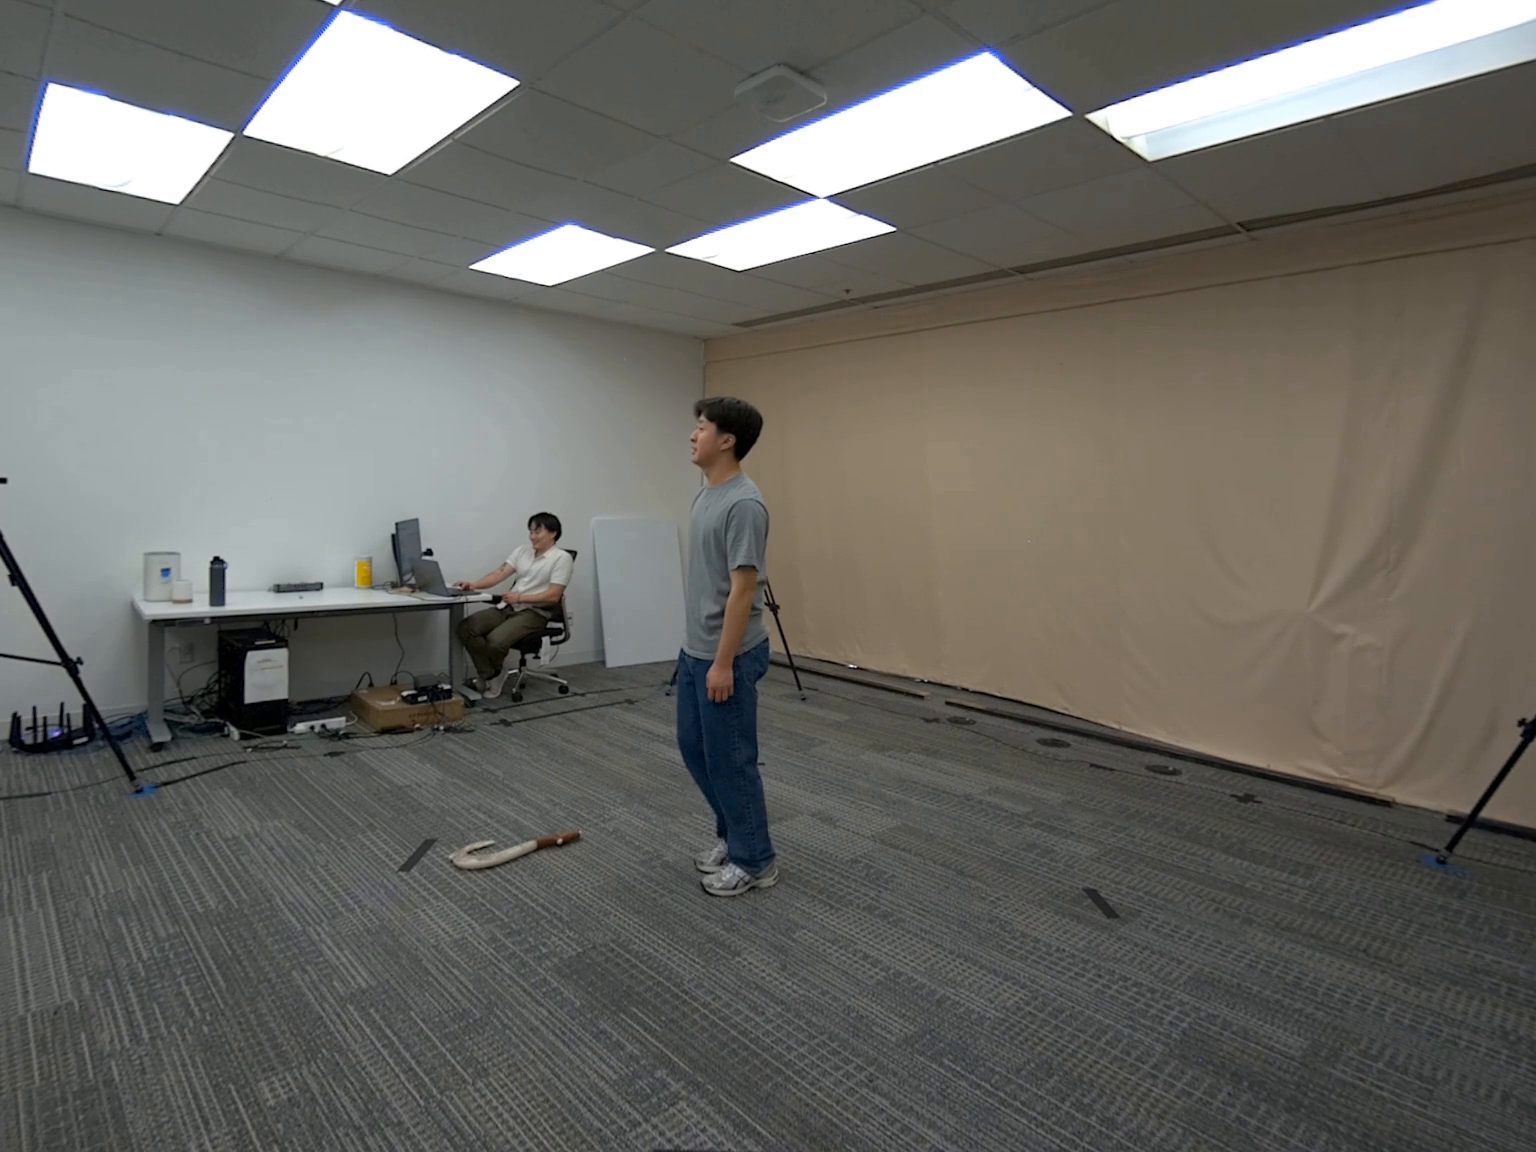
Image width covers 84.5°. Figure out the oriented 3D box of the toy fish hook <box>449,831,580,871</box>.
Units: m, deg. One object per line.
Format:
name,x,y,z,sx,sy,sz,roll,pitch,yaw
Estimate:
toy fish hook,-0.982,1.044,3.287,0.495,0.048,0.230,-2,7,-38
